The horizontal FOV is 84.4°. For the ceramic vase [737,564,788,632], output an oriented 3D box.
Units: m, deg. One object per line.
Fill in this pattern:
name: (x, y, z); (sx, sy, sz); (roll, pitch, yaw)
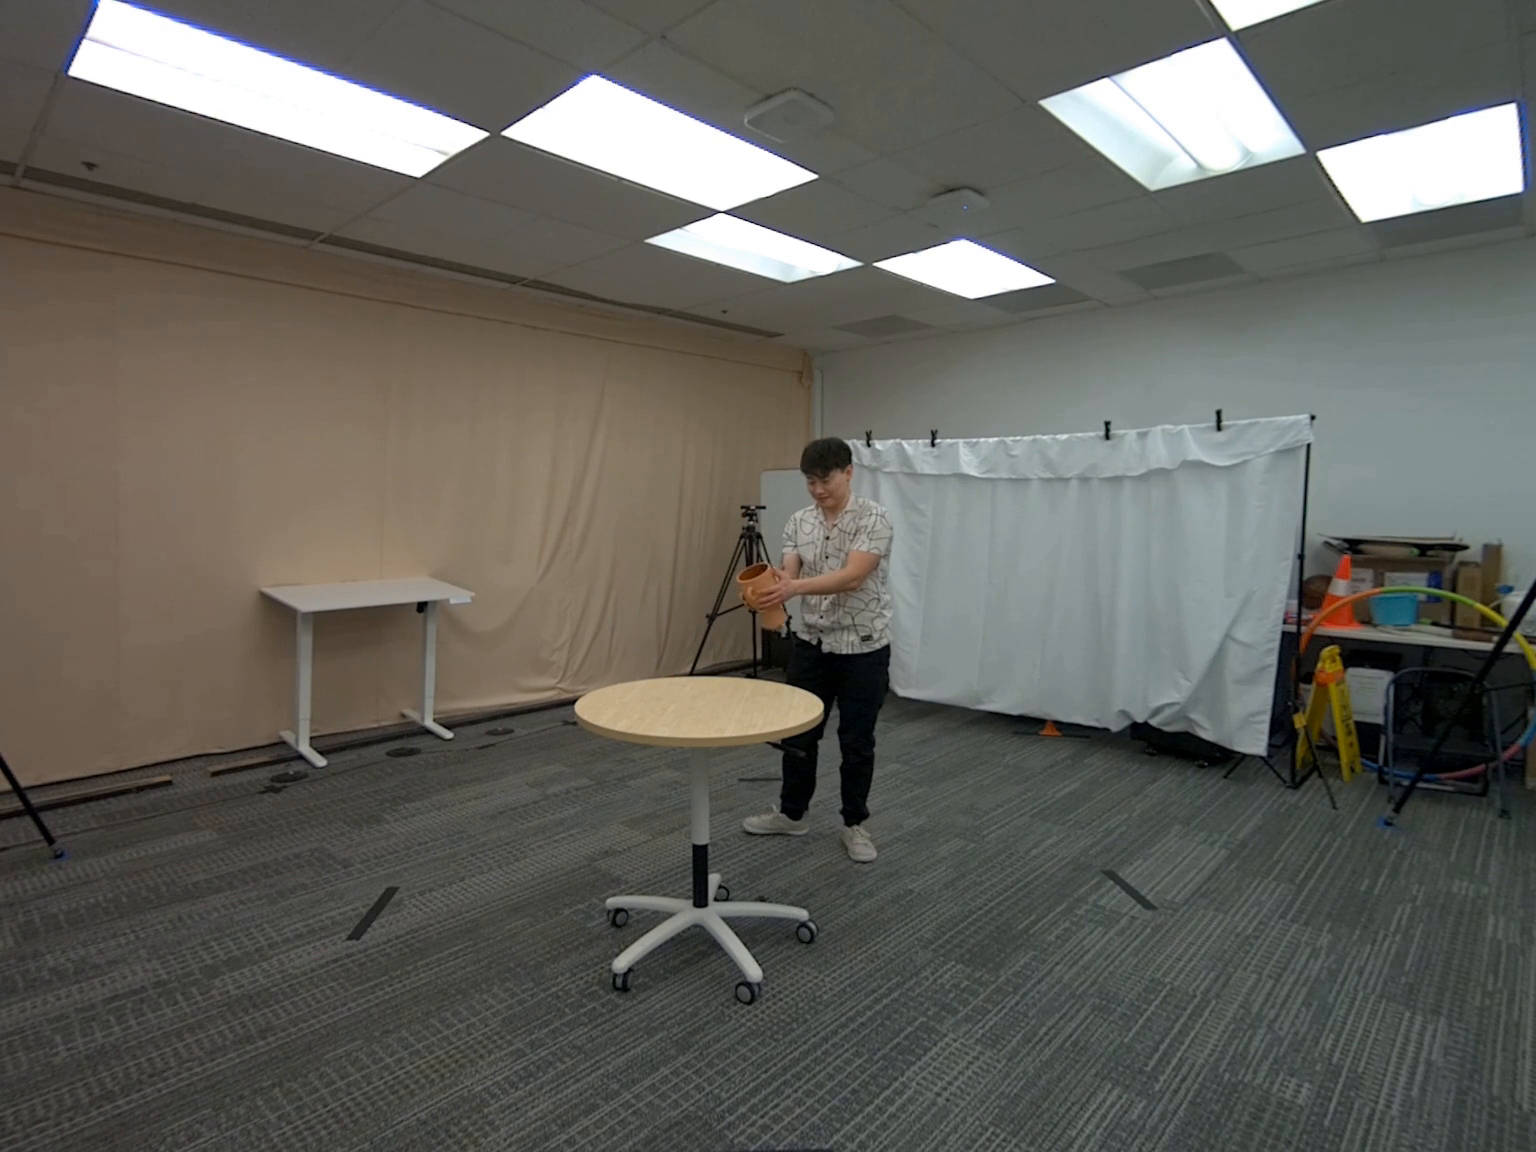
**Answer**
ceramic vase: (-0.014, 0.083, 3.085); (0.157, 0.216, 0.139); (-31, 20, -21)
